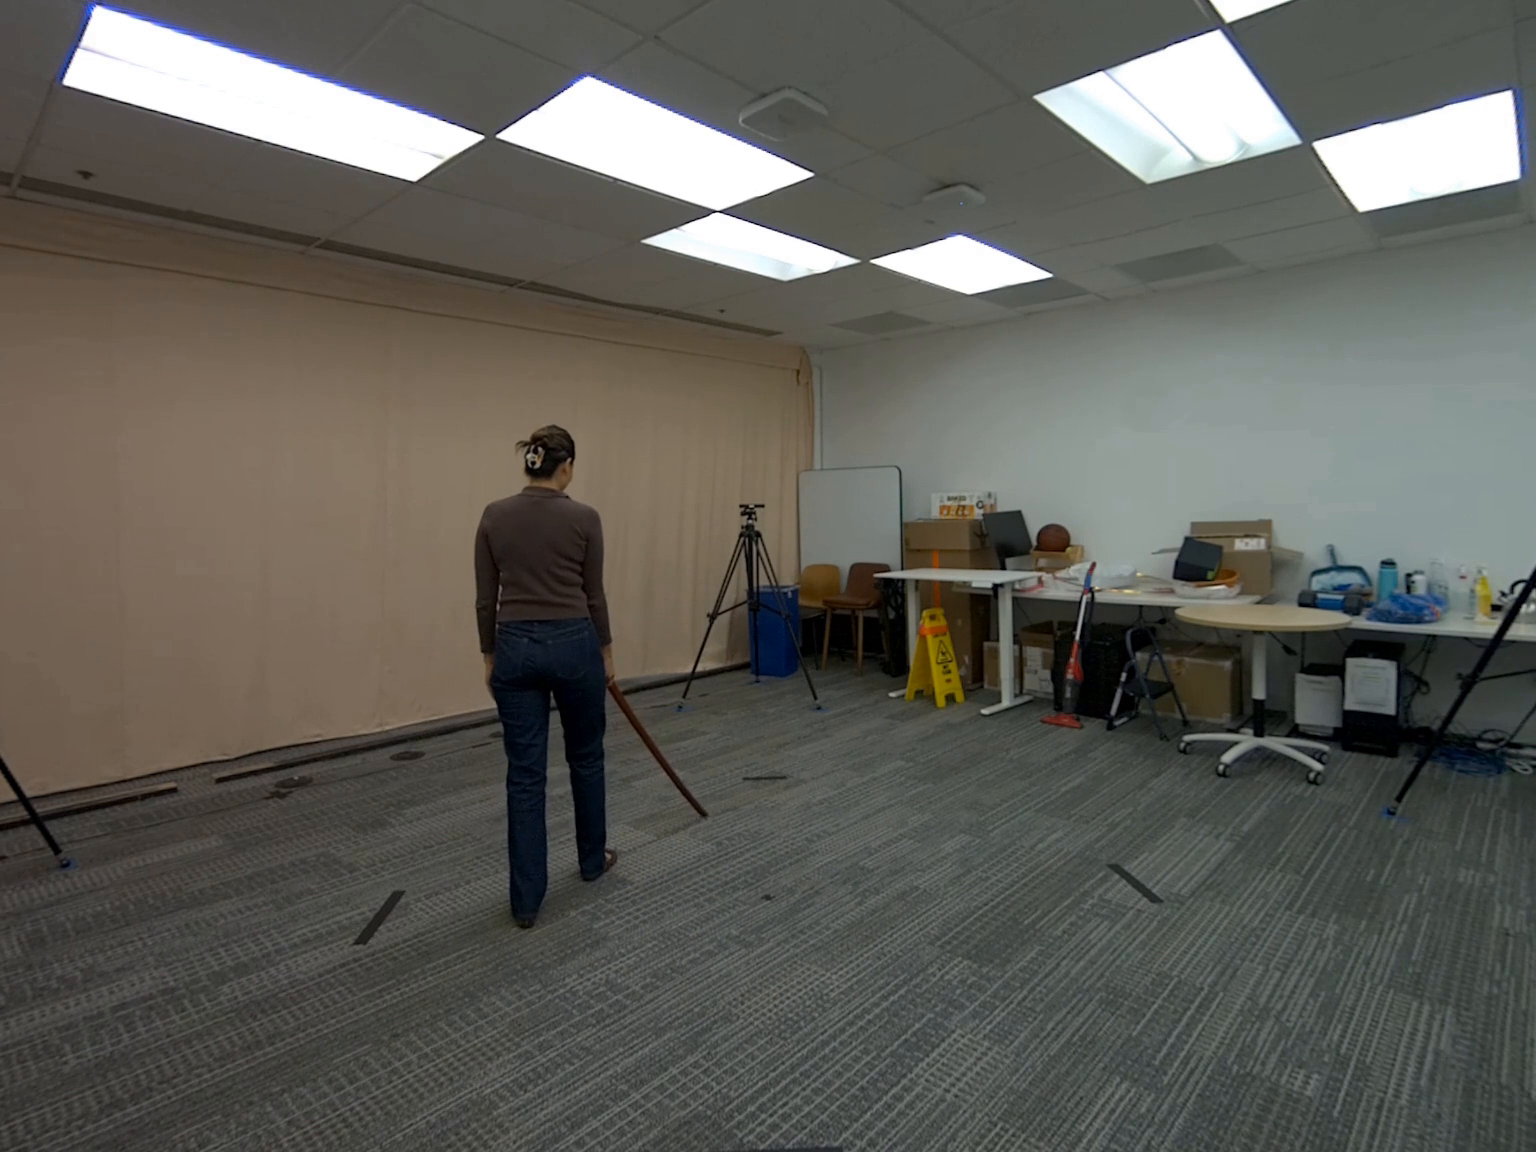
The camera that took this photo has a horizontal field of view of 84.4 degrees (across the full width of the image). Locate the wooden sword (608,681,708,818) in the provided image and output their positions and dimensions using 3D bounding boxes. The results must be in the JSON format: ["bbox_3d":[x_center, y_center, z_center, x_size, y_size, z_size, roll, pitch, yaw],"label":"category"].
[{"bbox_3d":[-0.472,0.722,3.505,0.052,0.995,0.024,-9,39,23],"label":"wooden sword"}]
